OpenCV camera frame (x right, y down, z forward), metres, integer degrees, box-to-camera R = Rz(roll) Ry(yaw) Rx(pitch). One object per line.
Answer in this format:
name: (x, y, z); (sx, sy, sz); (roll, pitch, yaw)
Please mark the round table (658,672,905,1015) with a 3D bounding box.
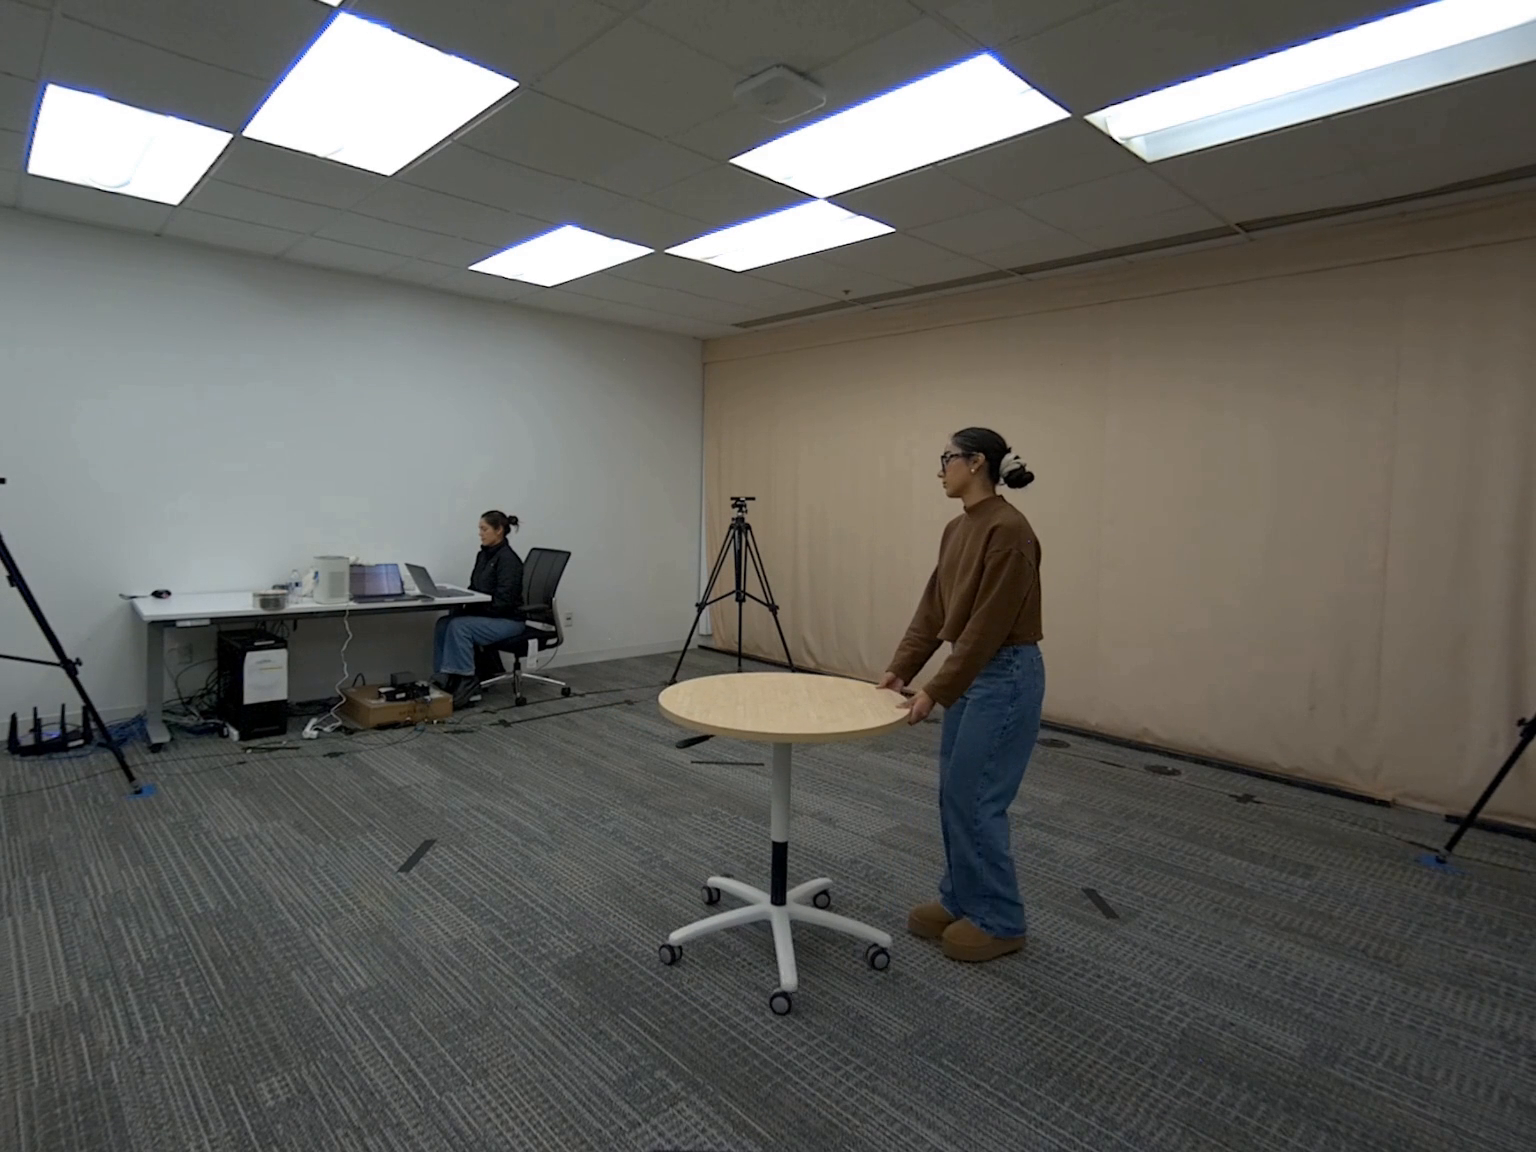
round table: (0.033, 0.766, 2.606); (0.763, 0.792, 0.767); (1, 4, -1)
